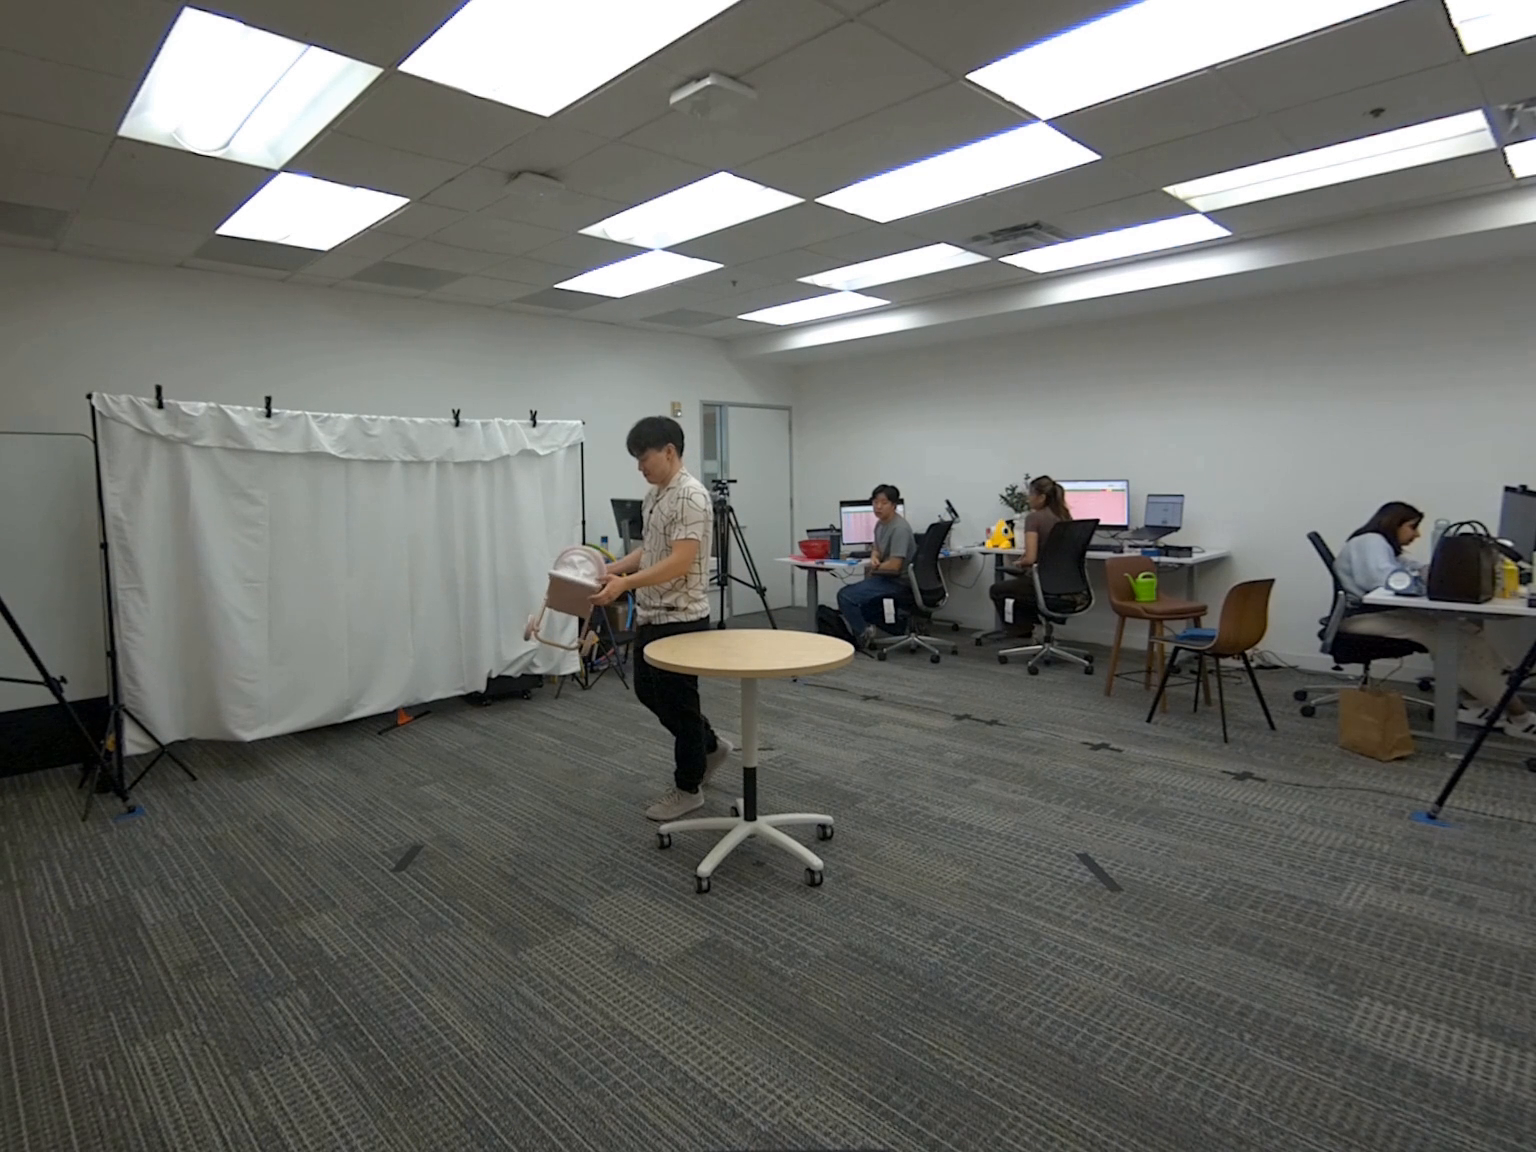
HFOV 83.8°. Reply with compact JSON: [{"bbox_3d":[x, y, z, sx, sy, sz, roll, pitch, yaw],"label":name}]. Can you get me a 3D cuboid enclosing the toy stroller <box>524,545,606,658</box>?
[{"bbox_3d":[-0.786,0.071,3.479,0.280,0.527,0.348,18,43,-6],"label":"toy stroller"}]
